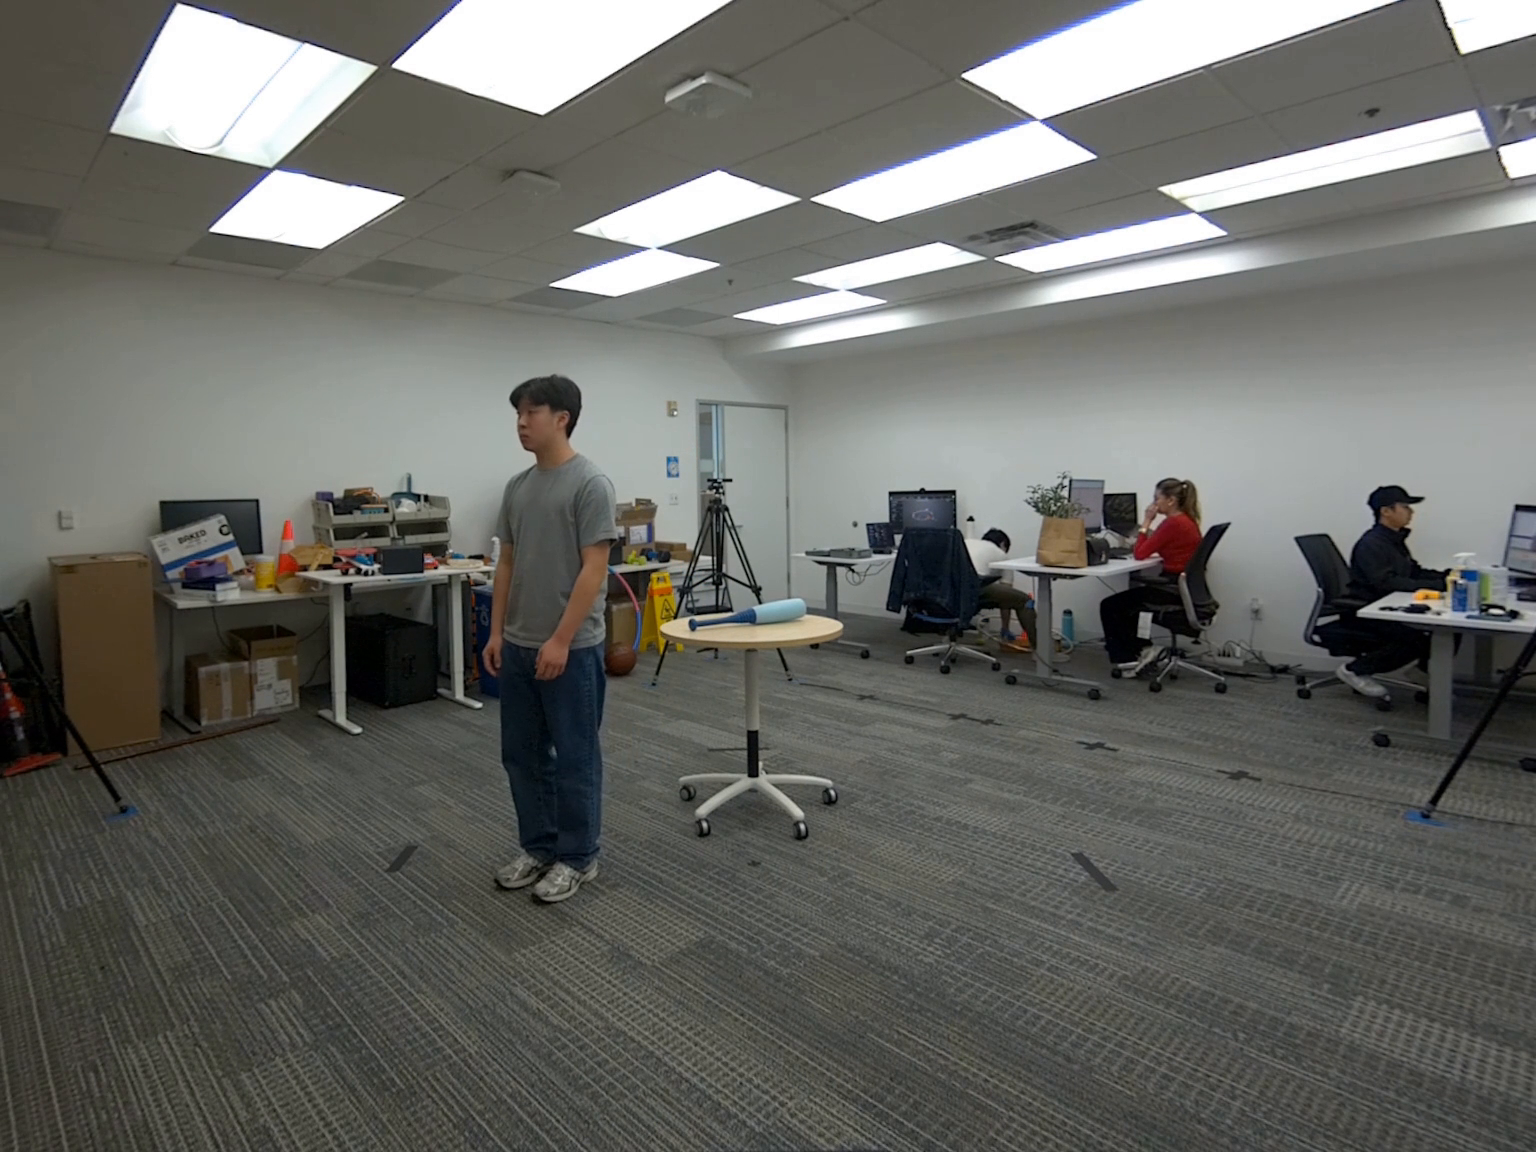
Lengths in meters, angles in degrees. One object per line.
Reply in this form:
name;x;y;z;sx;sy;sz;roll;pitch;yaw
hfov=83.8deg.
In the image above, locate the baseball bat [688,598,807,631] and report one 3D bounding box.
baseball bat;-0.085;0.172;3.590;0.531;0.088;0.091;-8;8;-28
